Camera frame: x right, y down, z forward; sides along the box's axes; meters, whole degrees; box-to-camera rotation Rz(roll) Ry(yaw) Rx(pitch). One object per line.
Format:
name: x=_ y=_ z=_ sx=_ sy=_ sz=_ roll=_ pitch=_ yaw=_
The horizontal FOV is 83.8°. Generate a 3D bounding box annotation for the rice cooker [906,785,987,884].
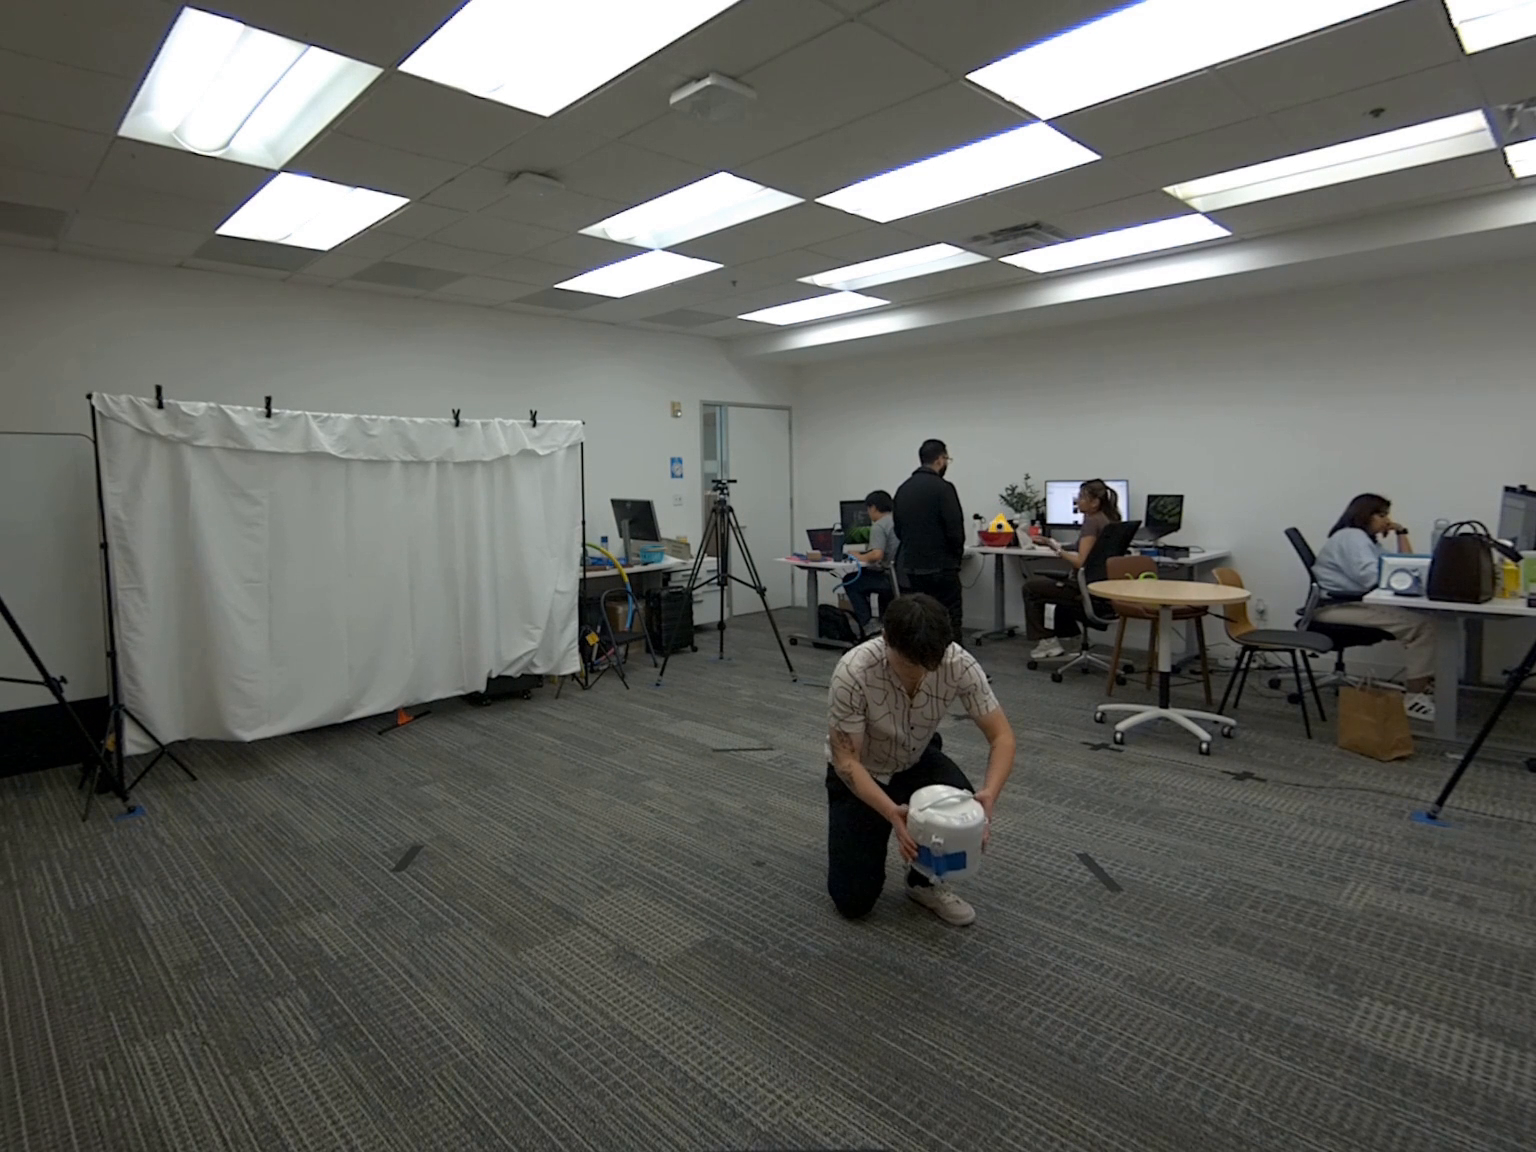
rice cooker: x=0.486 y=0.712 z=2.407 sx=0.216 sy=0.230 sz=0.224 roll=-4 pitch=18 yaw=-23
